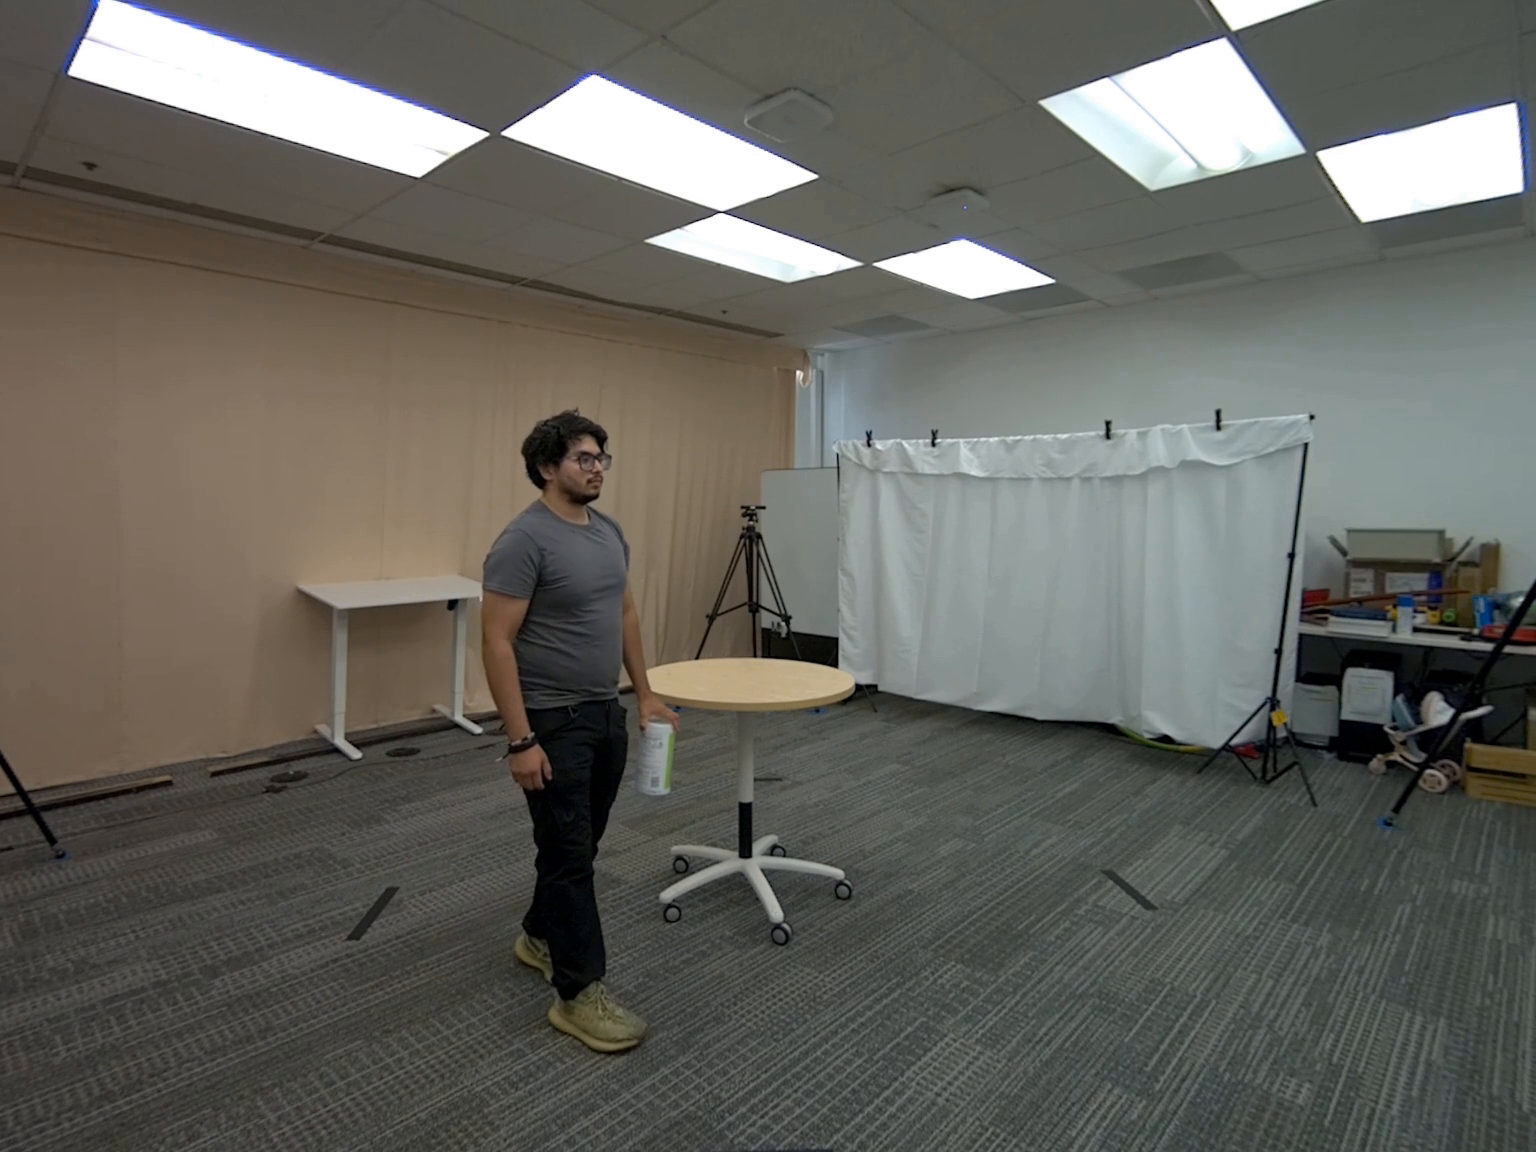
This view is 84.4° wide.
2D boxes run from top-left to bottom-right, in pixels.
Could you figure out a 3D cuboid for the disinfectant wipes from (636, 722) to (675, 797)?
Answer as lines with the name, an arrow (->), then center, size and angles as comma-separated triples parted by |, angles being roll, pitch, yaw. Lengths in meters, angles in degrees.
disinfectant wipes -> -0.336, 0.544, 2.543 | 0.118, 0.217, 0.118 | 4, 1, -2
